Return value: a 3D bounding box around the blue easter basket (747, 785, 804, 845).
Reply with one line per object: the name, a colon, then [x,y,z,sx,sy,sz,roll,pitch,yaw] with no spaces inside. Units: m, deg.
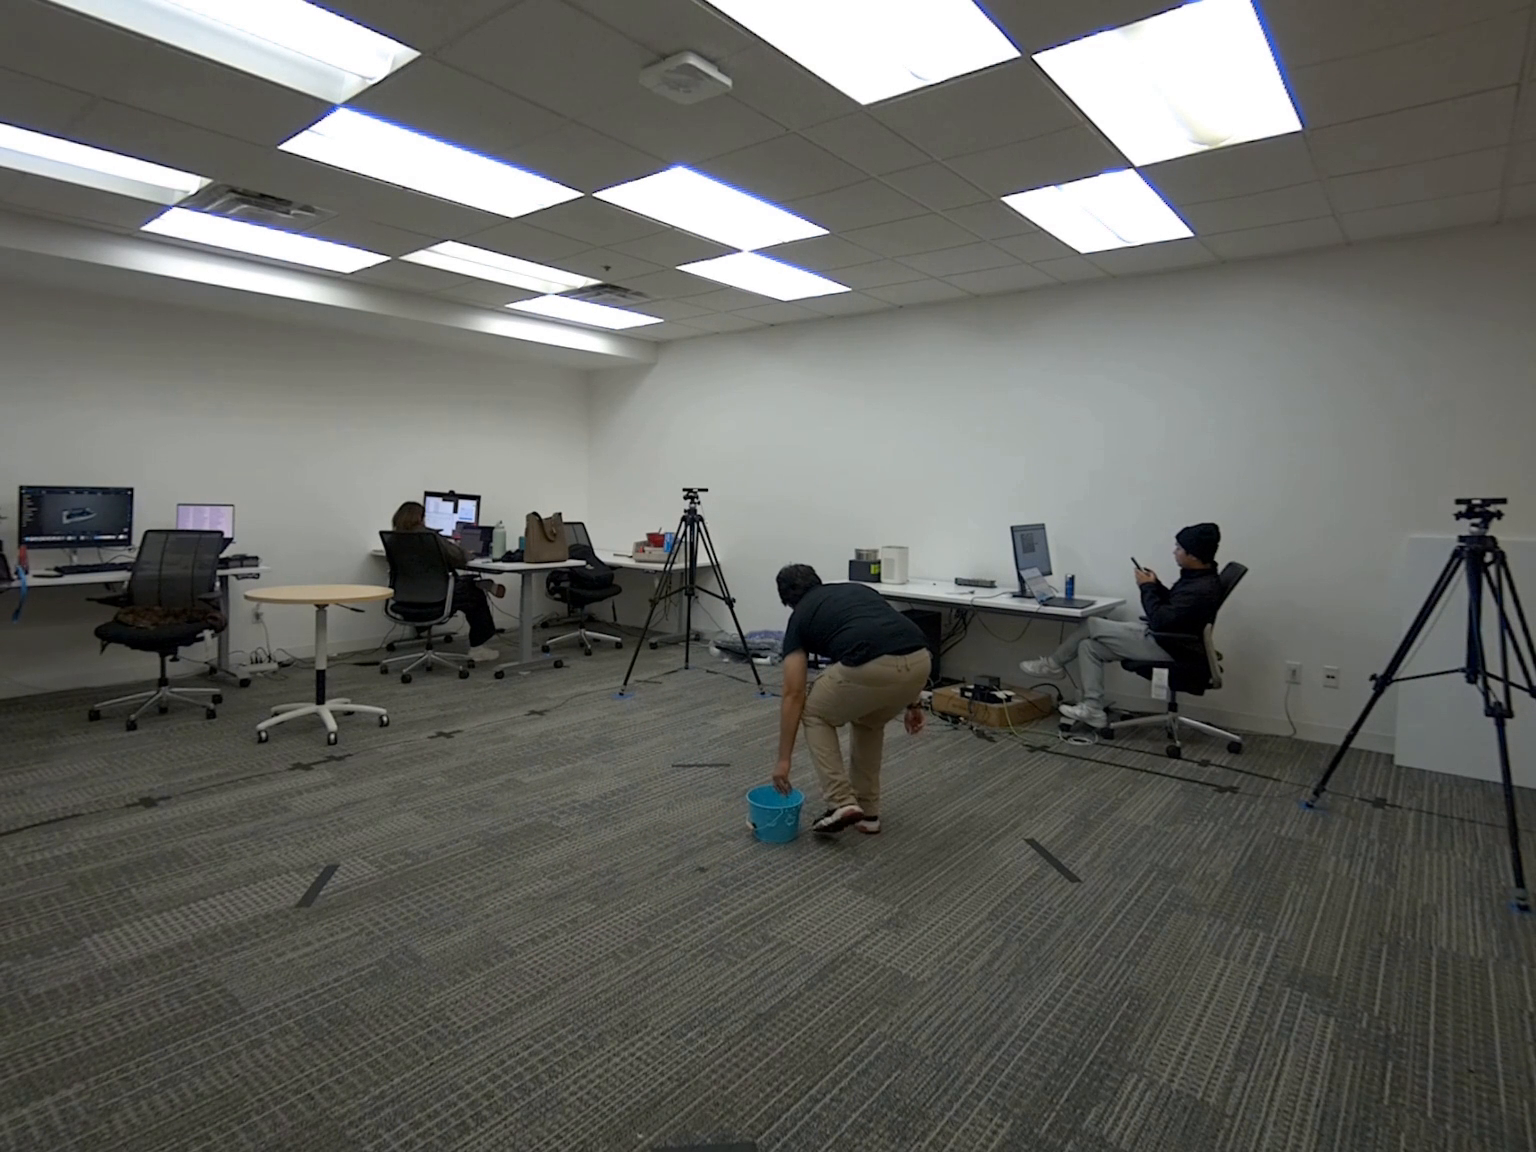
blue easter basket: [0.017,0.963,3.454,0.243,0.155,0.245,0,8,-2]
